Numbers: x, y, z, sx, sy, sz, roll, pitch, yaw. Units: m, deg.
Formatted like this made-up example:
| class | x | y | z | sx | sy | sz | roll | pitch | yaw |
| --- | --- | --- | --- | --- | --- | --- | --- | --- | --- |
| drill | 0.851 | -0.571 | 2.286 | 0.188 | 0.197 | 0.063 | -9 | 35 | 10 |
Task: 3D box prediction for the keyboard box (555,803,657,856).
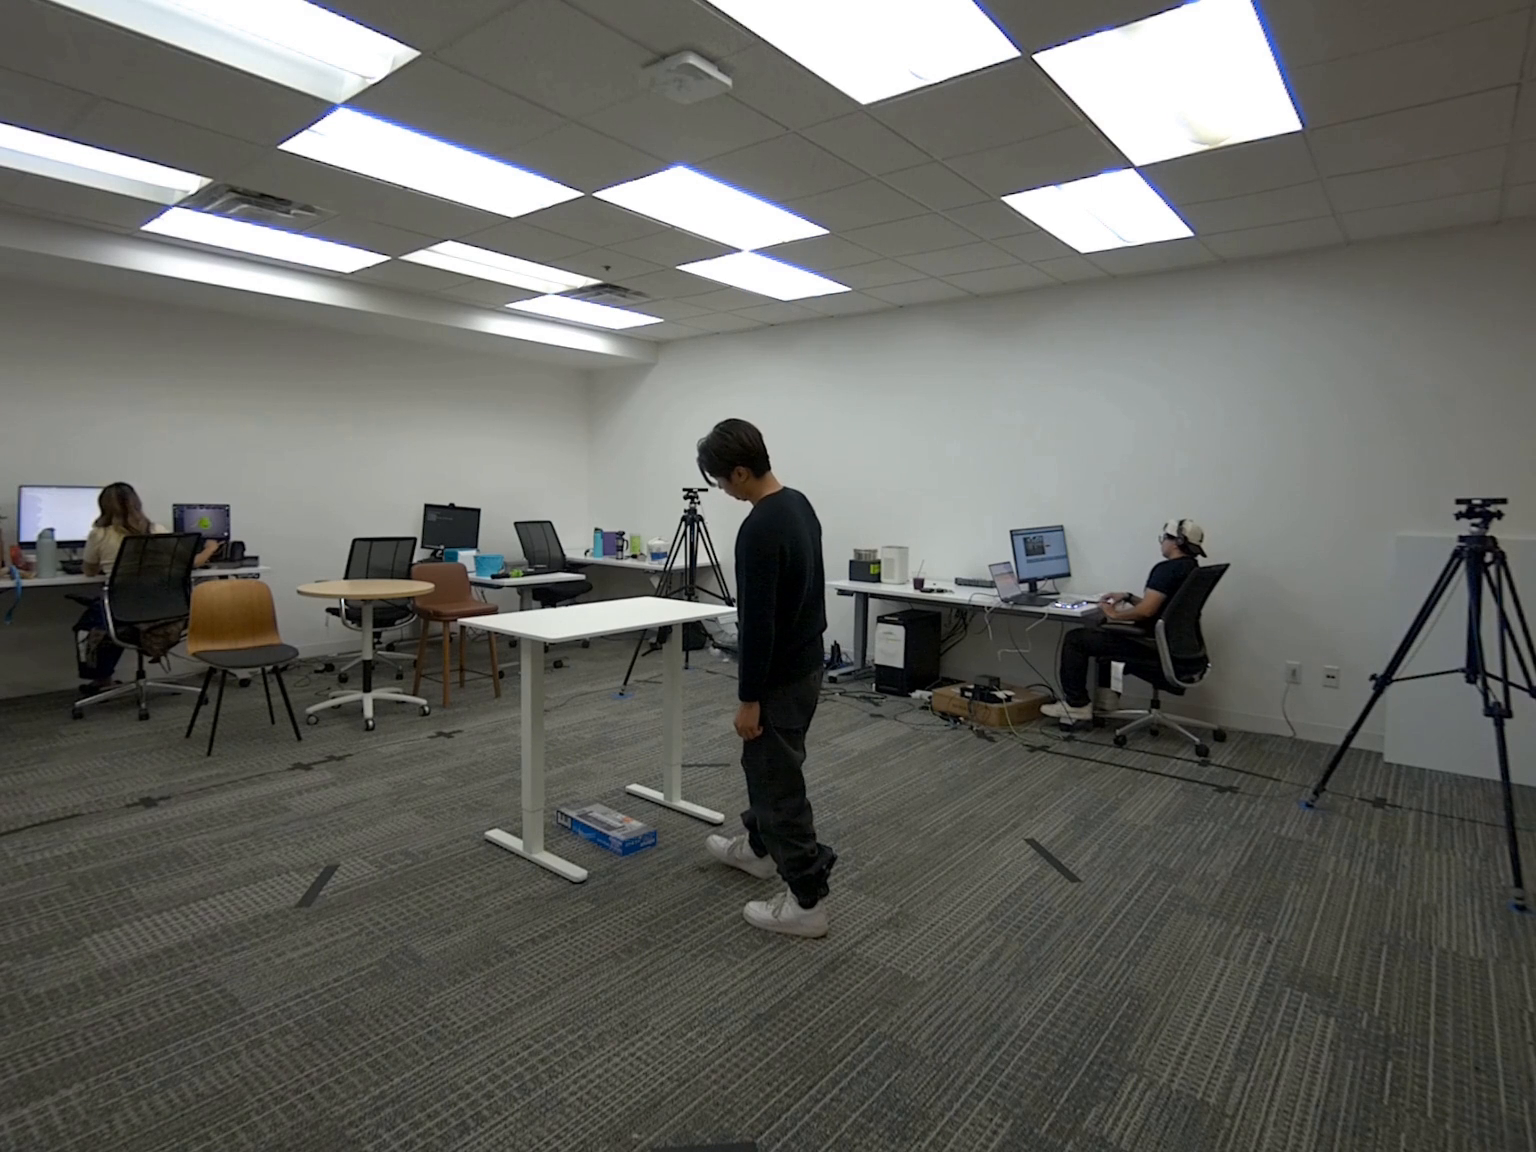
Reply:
| class | x | y | z | sx | sy | sz | roll | pitch | yaw |
| --- | --- | --- | --- | --- | --- | --- | --- | --- | --- |
| keyboard box | -0.663 | 1.002 | 3.415 | 0.452 | 0.059 | 0.170 | 7 | 7 | 43 |
